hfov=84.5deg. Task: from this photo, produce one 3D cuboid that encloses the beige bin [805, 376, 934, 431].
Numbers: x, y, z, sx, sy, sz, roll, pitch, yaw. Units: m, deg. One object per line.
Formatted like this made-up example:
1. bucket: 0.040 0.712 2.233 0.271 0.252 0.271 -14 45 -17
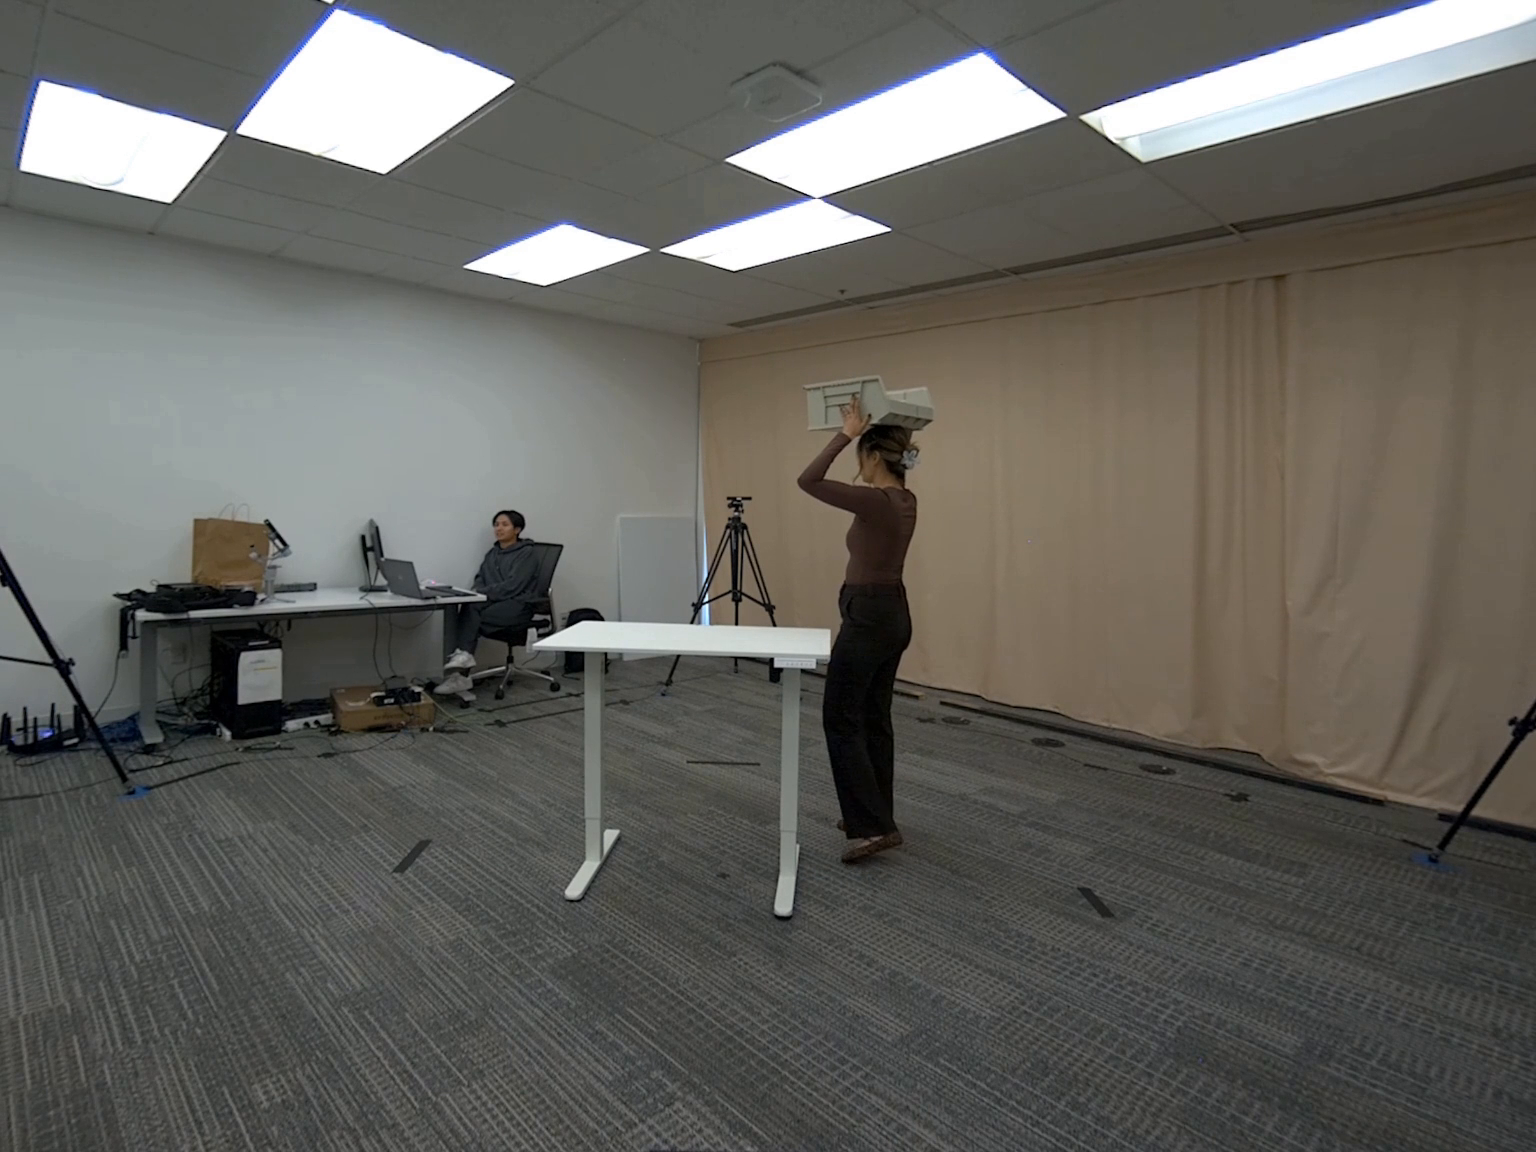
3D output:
1. beige bin: 0.410 -0.688 3.437 0.386 0.188 0.414 0 4 36
